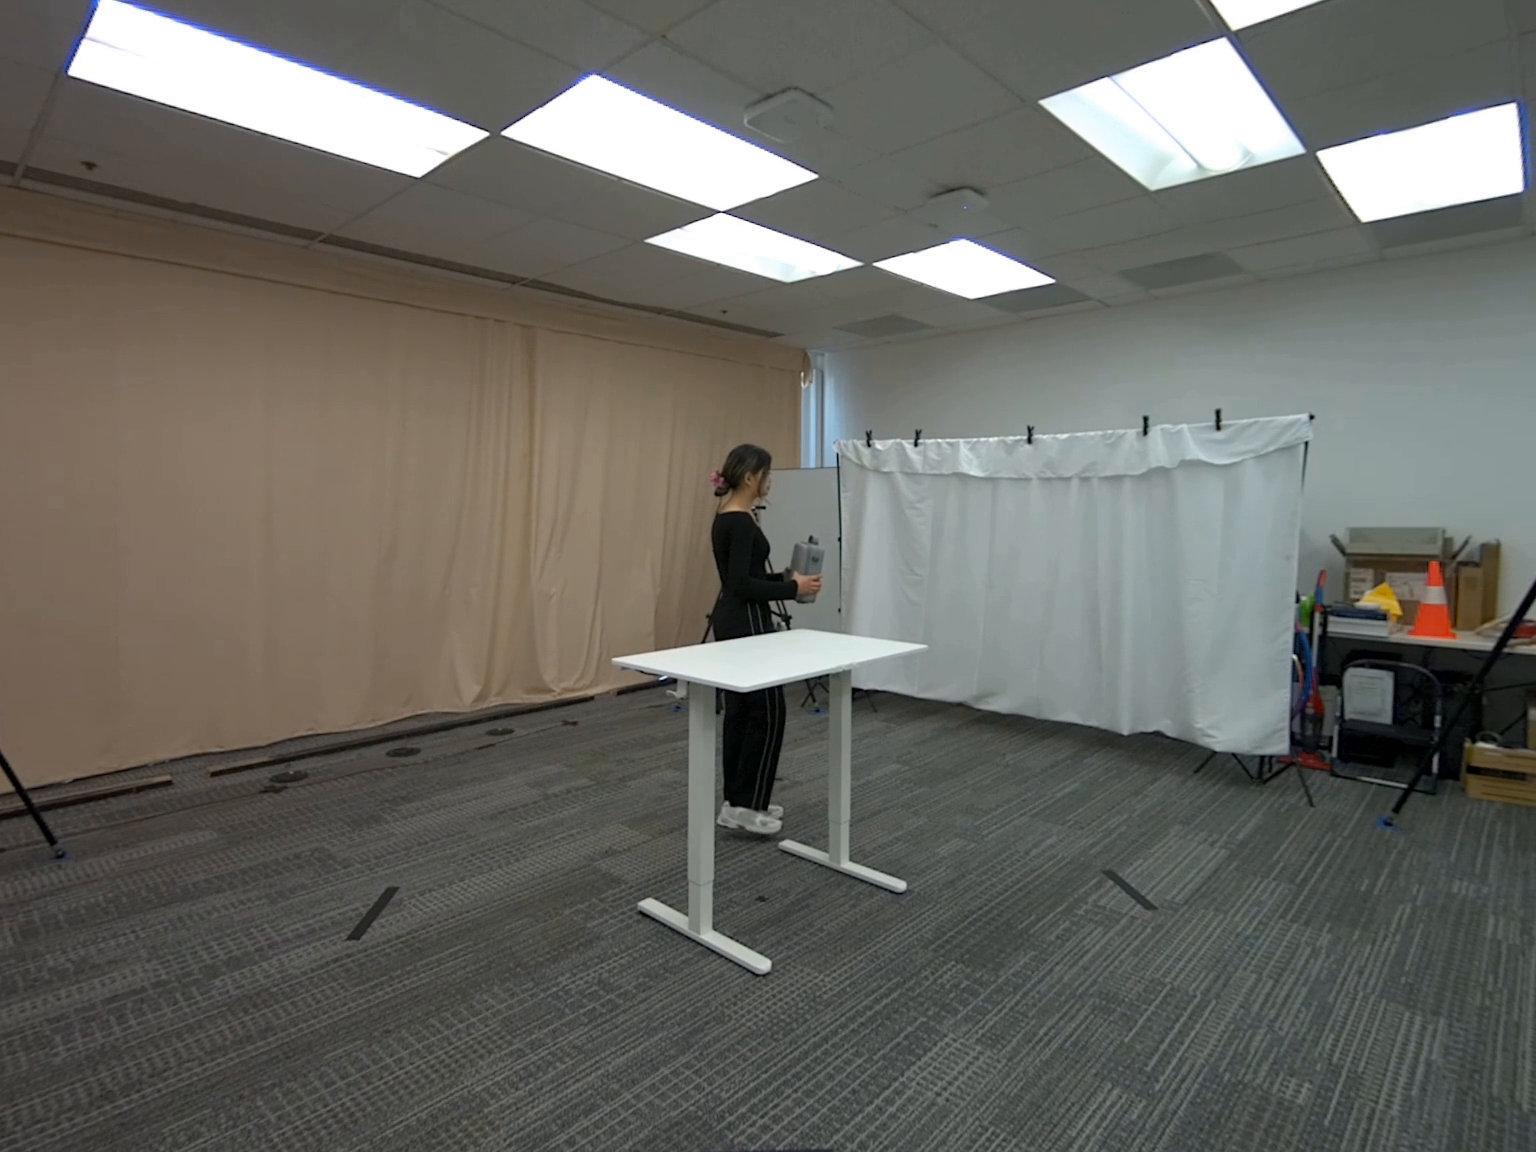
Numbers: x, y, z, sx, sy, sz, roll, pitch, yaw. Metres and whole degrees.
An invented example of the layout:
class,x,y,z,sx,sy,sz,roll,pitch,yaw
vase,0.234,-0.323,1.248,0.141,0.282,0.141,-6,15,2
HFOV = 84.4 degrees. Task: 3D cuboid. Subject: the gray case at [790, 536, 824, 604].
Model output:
class,x,y,z,sx,sy,sz,roll,pitch,yaw
gray case,0.161,-0.017,3.710,0.104,0.260,0.259,10,4,-7
